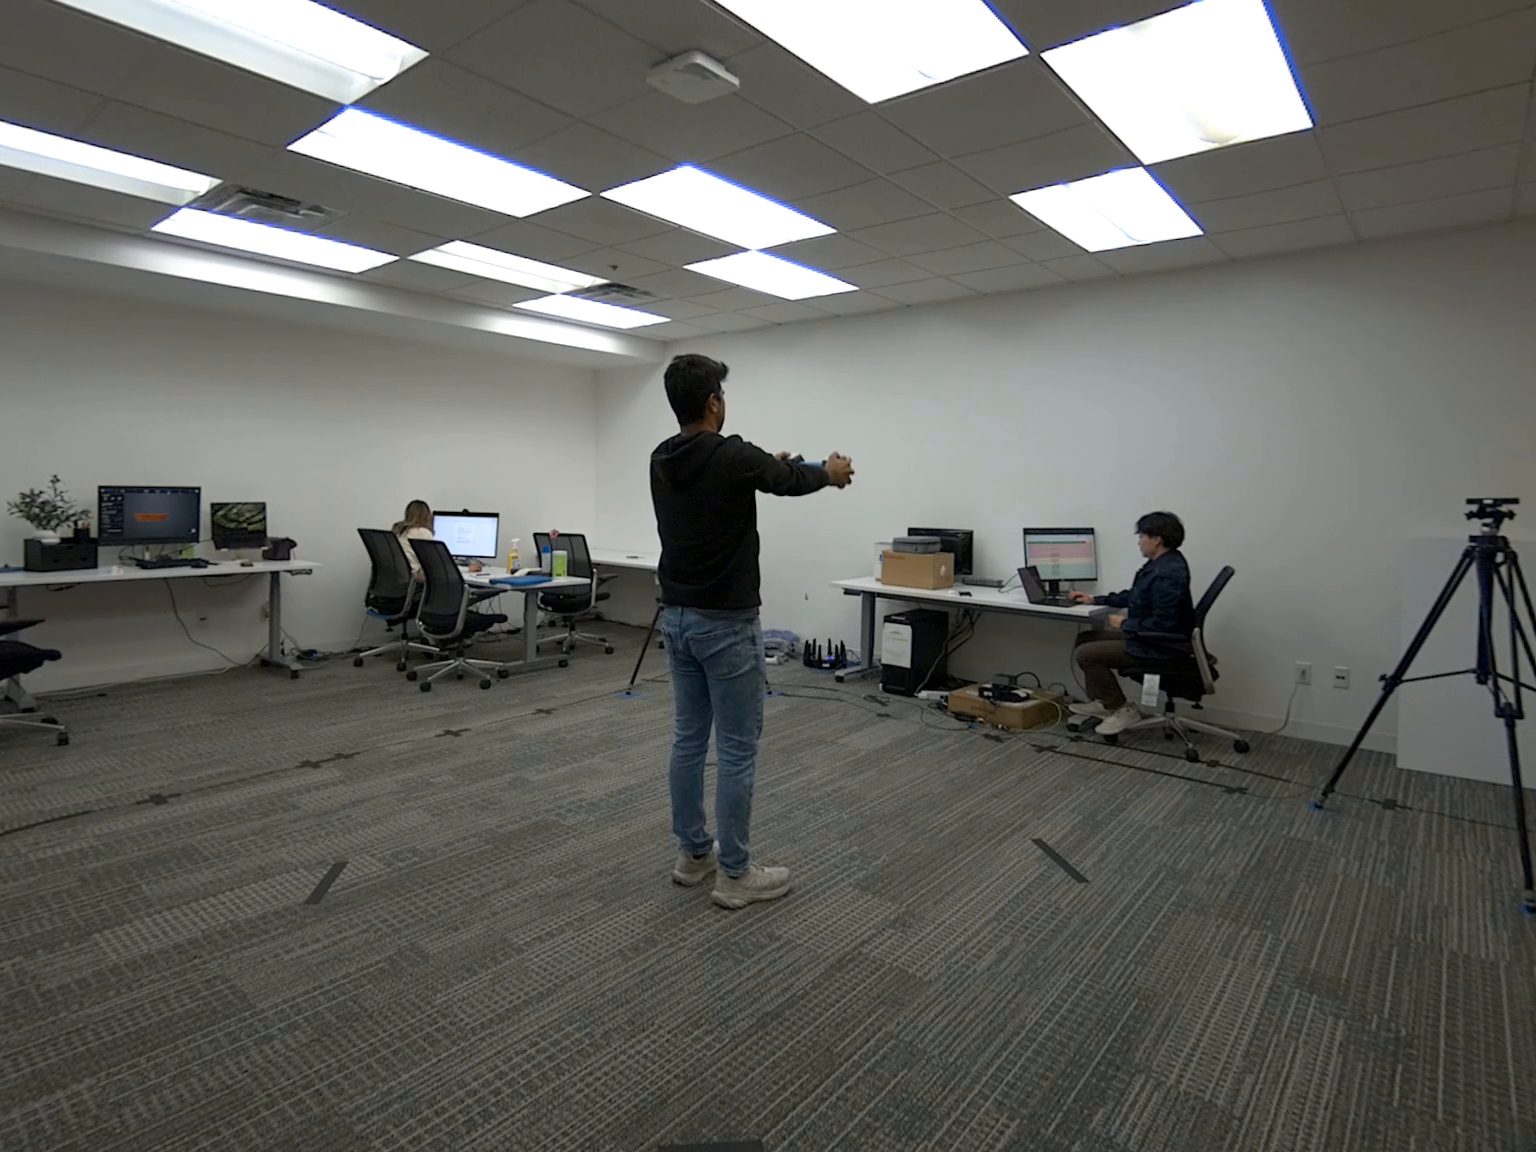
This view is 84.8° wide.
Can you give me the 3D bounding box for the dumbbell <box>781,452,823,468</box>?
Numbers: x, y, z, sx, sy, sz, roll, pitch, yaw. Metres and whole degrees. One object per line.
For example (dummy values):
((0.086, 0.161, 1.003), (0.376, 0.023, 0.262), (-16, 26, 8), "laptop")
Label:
((0.155, -0.428, 3.312), (0.304, 0.123, 0.105), (12, 0, 42), "dumbbell")
